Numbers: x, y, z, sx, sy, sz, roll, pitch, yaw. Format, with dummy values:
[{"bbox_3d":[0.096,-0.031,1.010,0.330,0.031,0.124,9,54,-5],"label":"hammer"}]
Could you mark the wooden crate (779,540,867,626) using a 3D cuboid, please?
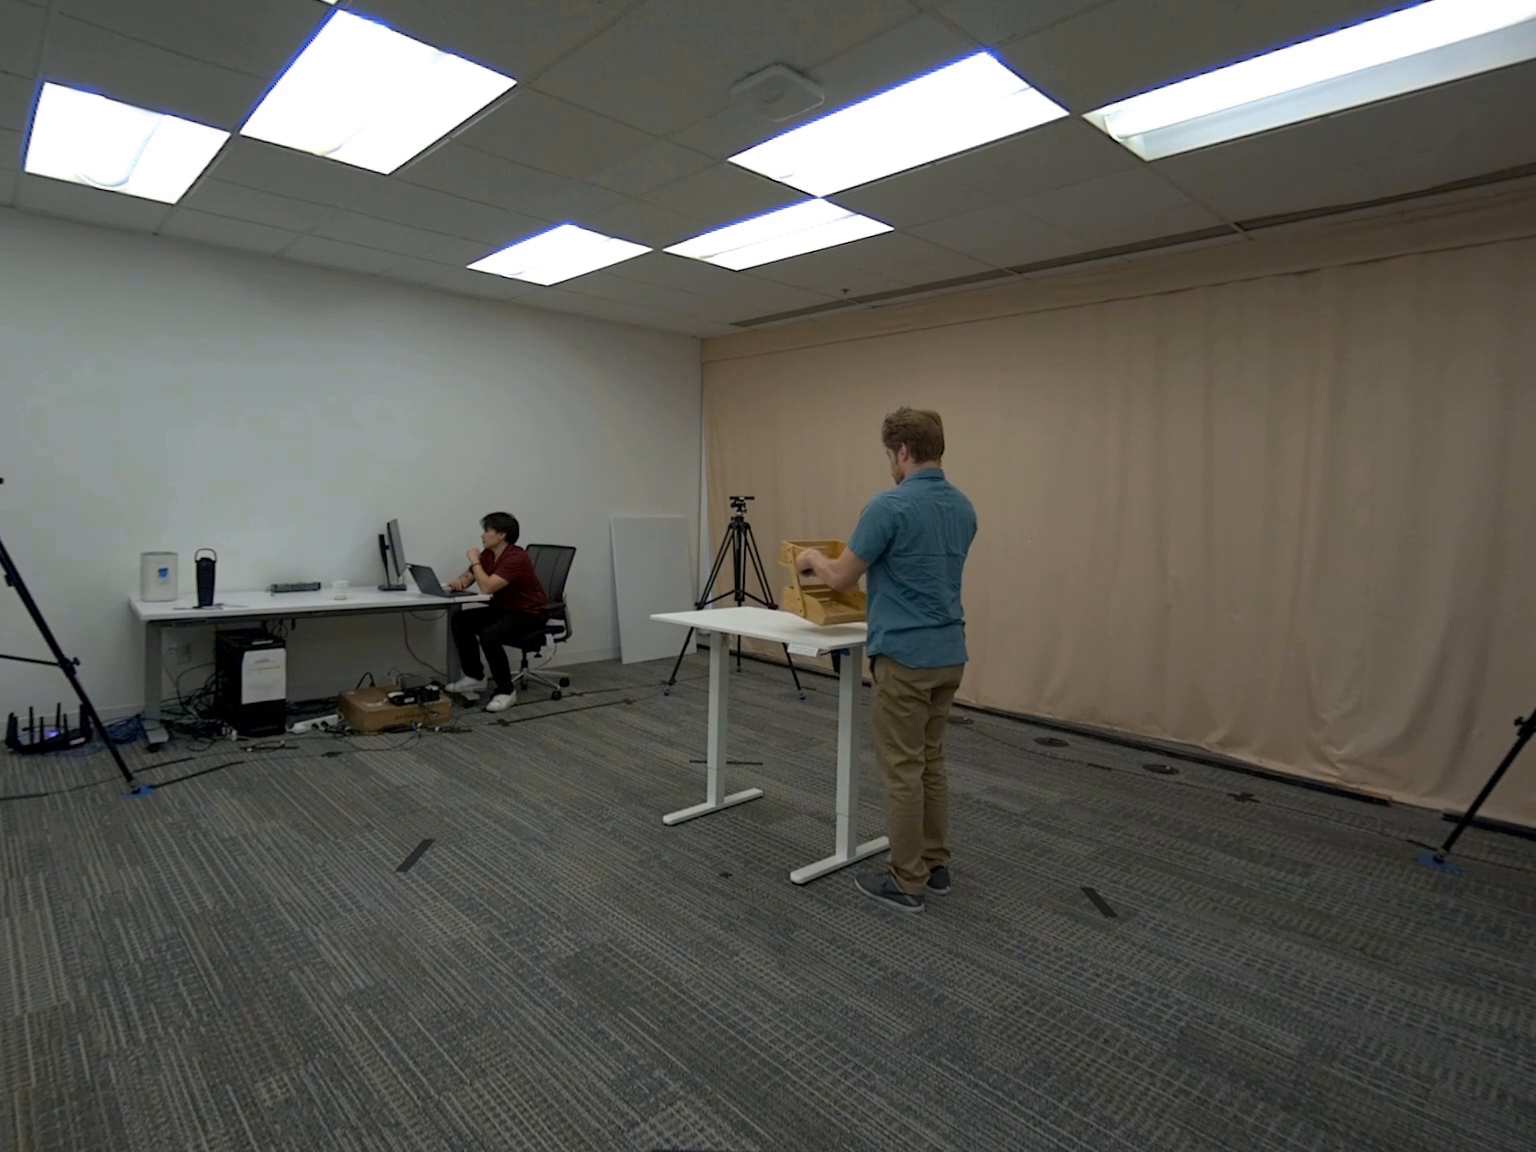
[{"bbox_3d":[0.238,0.020,3.280,0.317,0.271,0.311,-1,15,-39],"label":"wooden crate"}]
